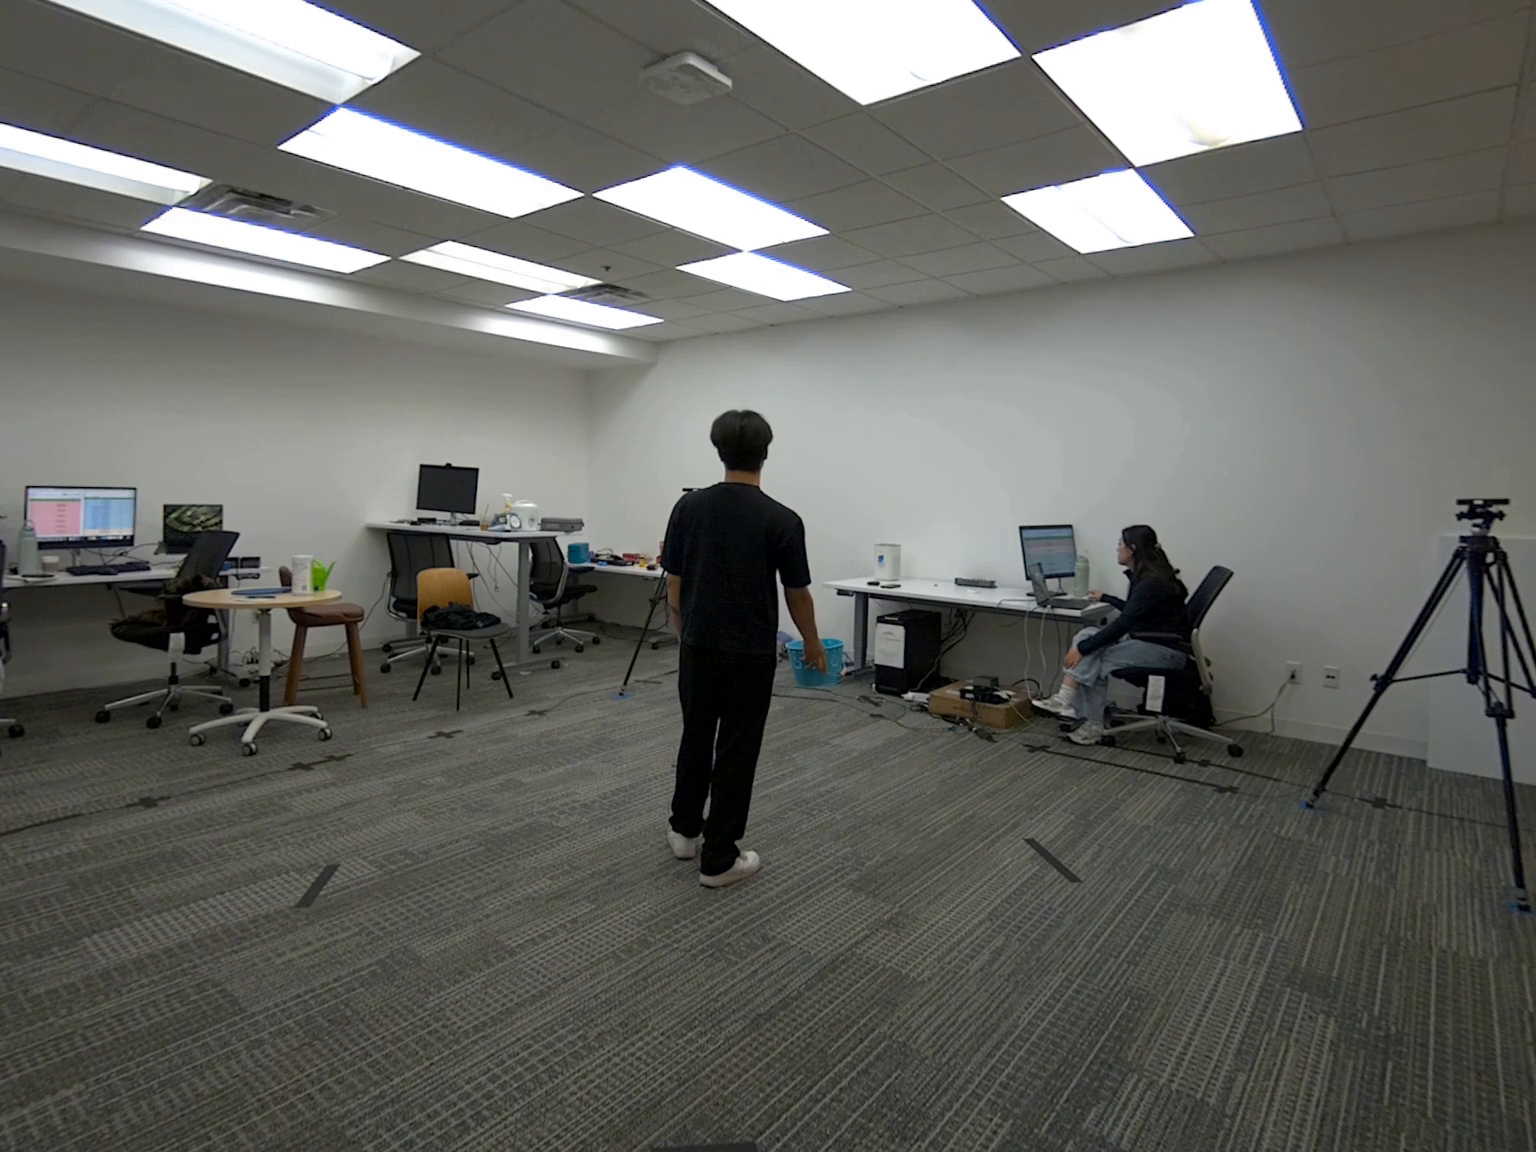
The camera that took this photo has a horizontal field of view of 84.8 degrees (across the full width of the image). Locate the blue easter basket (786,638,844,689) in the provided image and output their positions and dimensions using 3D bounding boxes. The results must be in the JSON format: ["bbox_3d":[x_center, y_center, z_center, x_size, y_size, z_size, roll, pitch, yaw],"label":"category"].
[{"bbox_3d":[0.192,0.350,3.362,0.243,0.155,0.245,-4,4,-2],"label":"blue easter basket"}]
